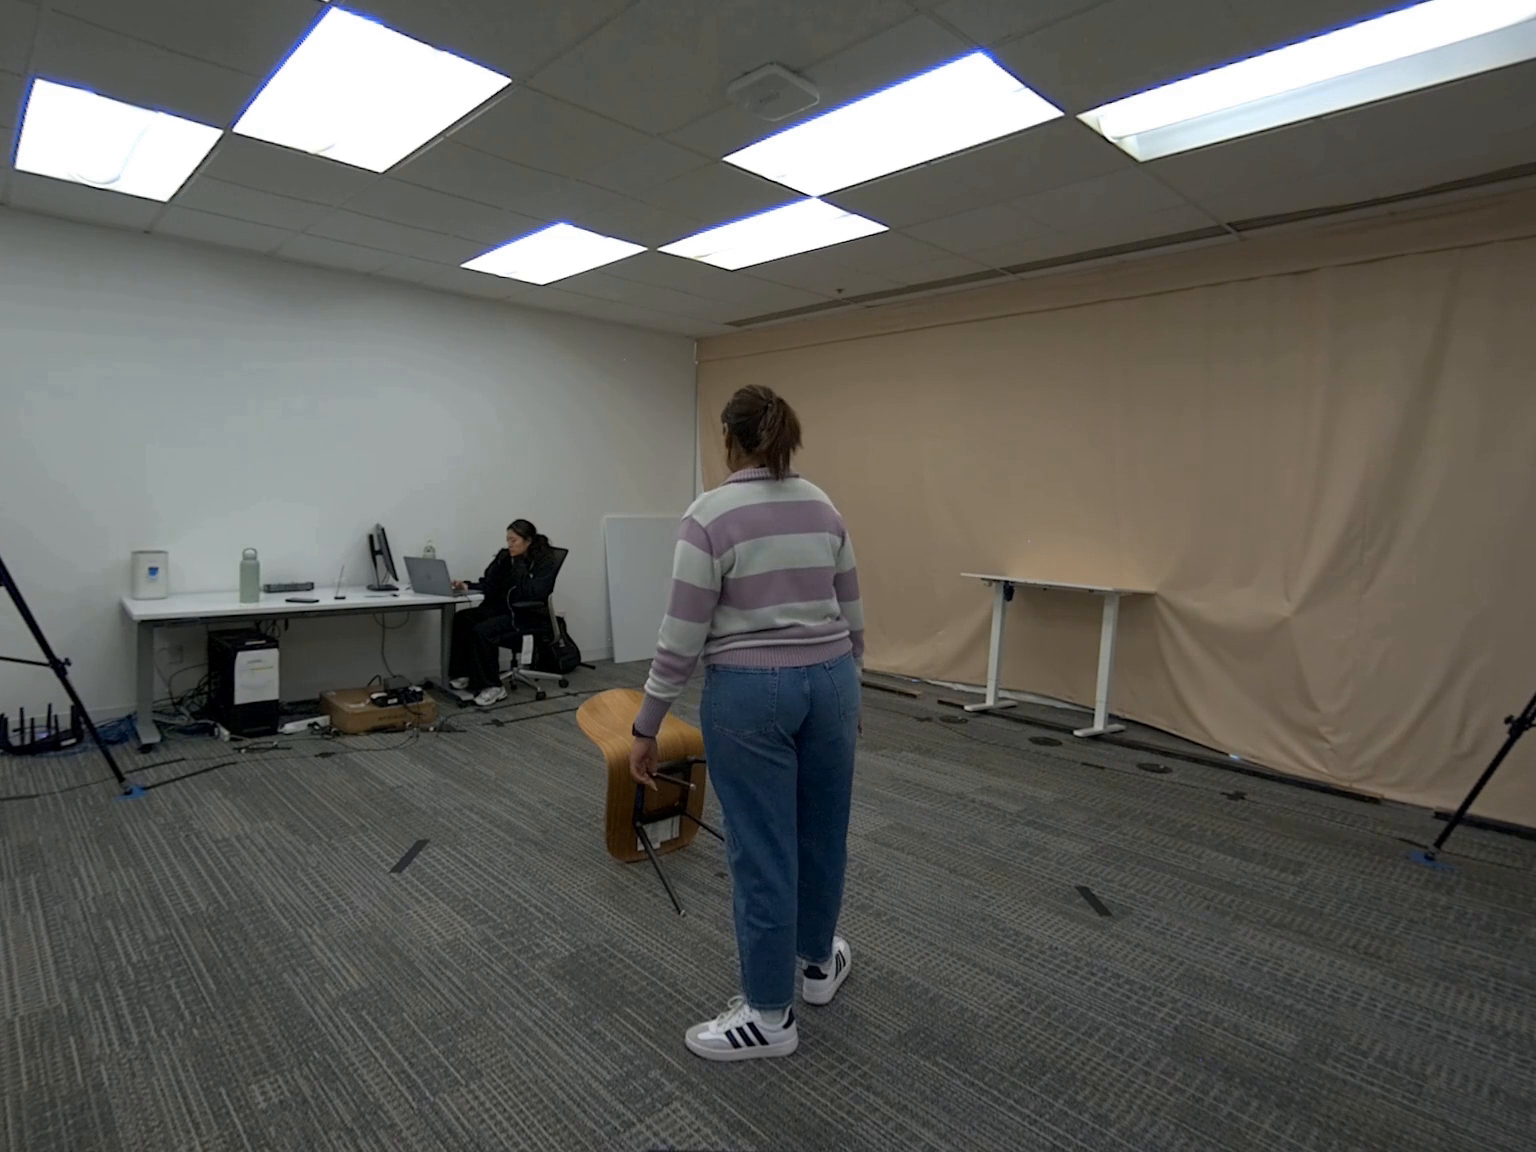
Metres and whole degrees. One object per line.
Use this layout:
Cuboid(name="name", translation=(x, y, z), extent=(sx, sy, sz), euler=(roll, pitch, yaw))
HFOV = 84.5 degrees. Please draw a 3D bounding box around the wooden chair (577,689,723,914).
Cuboid(name="wooden chair", translation=(-0.401, 0.830, 3.226), extent=(0.467, 0.519, 0.903), euler=(-3, 15, -42))
